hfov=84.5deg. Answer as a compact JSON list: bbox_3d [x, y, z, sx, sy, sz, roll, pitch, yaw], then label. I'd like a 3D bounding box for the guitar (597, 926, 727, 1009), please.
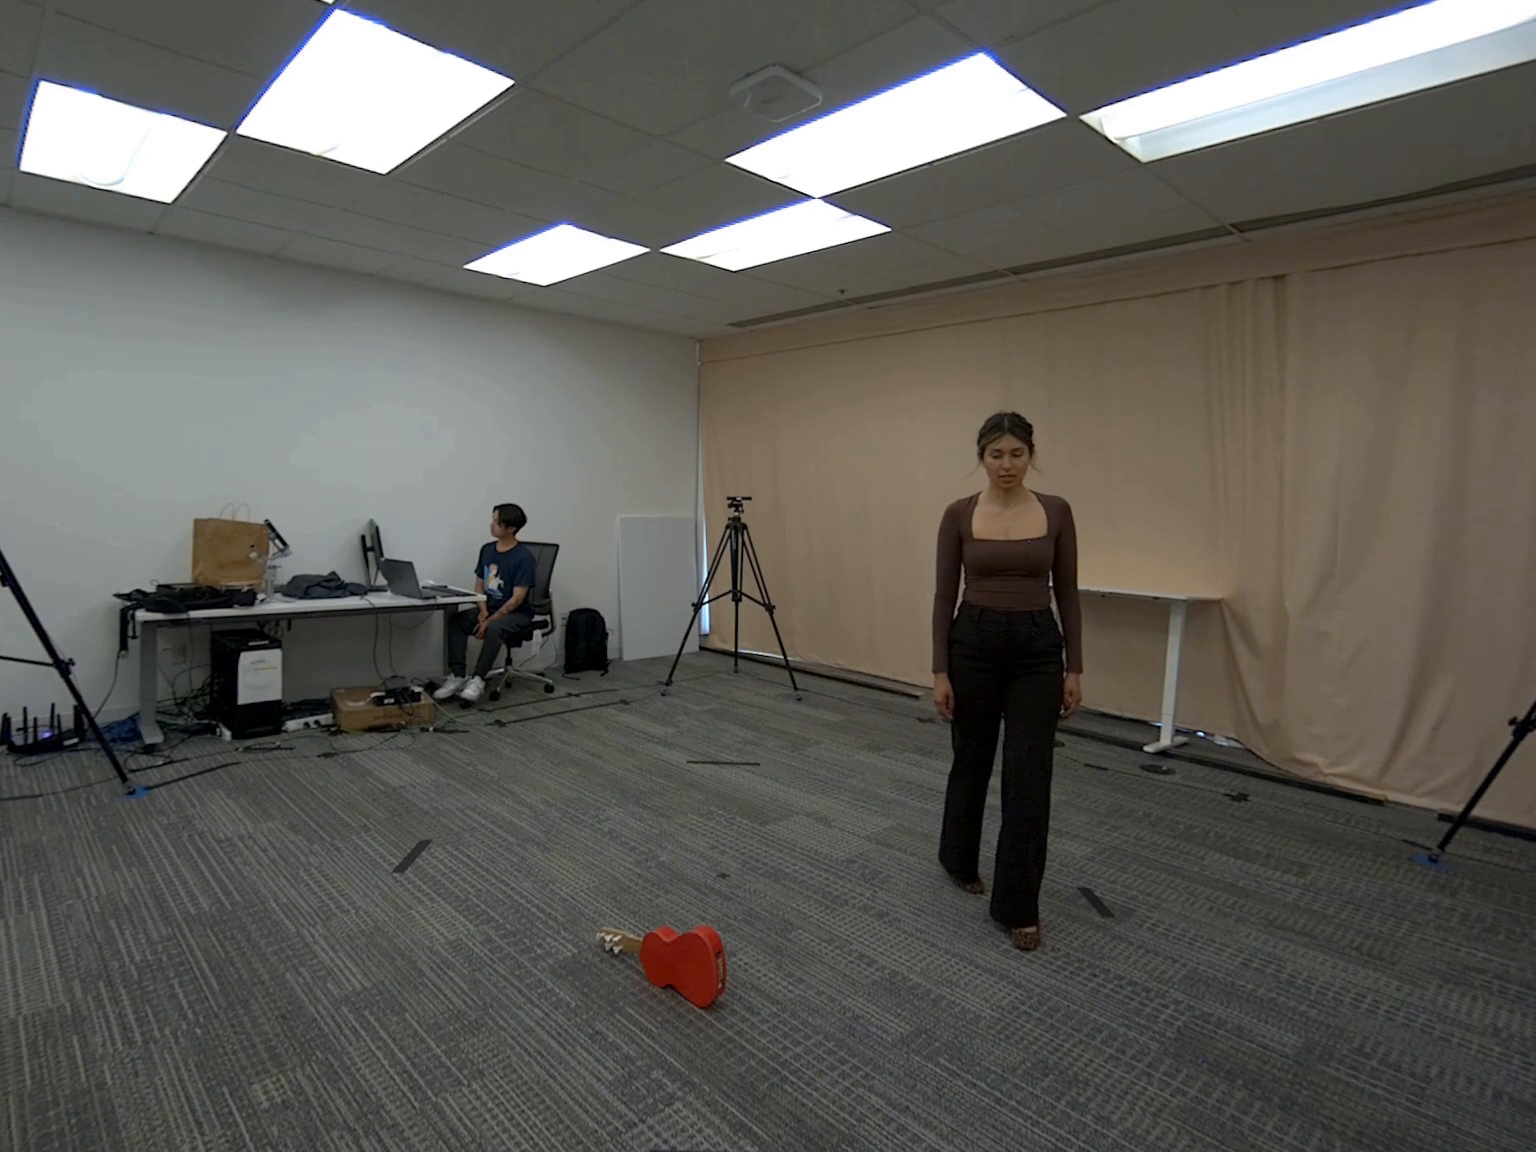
[{"bbox_3d":[-0.330,1.123,2.433,0.505,0.194,0.069,-17,-10,36],"label":"guitar"}]
